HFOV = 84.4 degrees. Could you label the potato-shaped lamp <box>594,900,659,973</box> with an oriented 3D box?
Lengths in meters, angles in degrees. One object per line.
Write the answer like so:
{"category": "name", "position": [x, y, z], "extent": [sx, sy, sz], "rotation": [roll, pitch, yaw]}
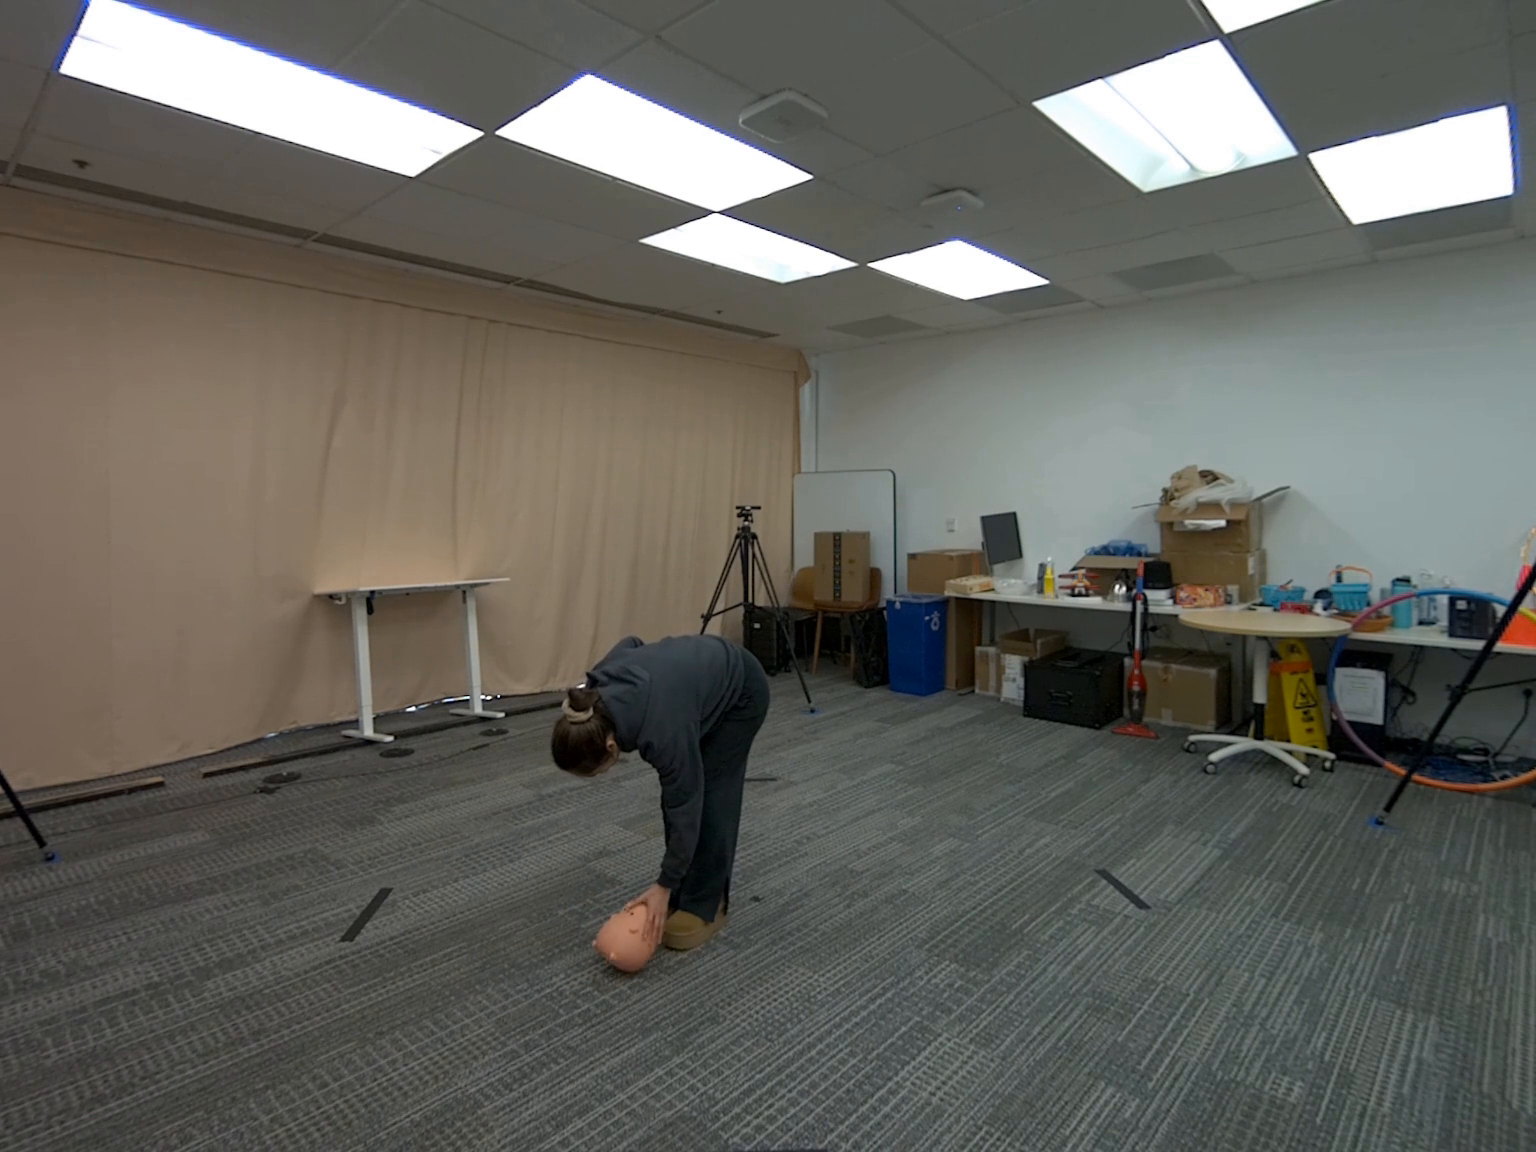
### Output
{"category": "potato-shaped lamp", "position": [-0.395, 1.083, 2.542], "extent": [0.166, 0.198, 0.170], "rotation": [45, -25, -29]}
